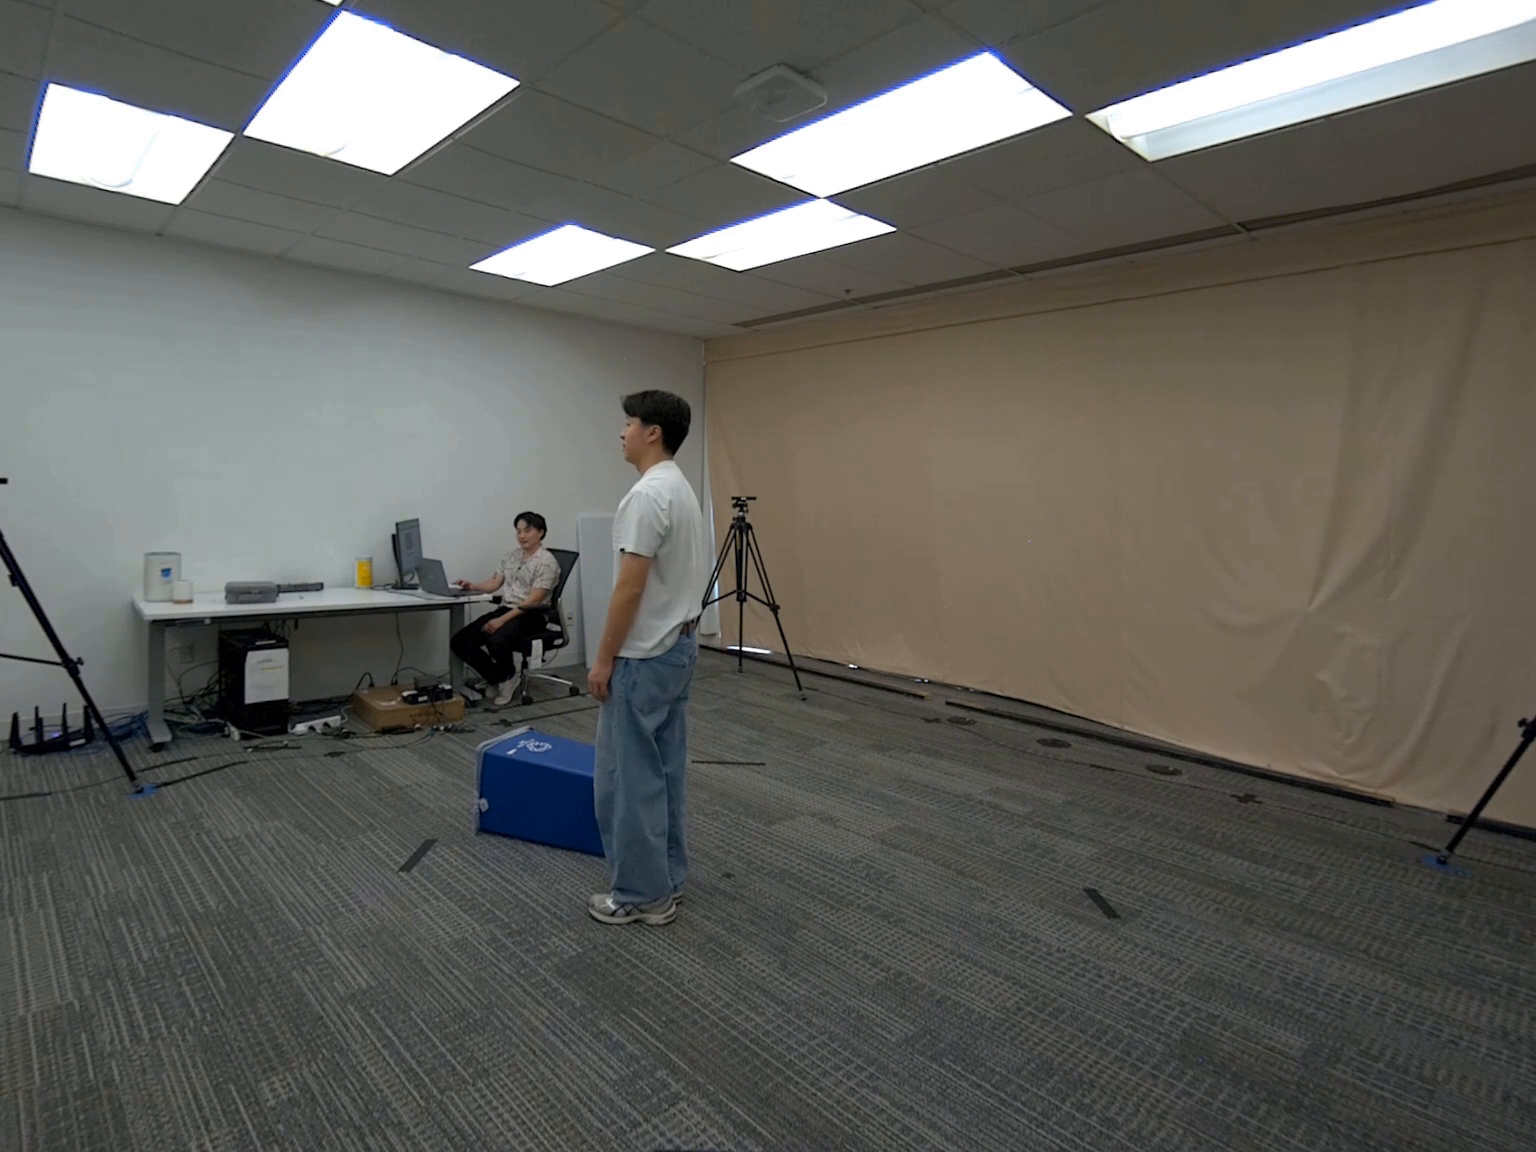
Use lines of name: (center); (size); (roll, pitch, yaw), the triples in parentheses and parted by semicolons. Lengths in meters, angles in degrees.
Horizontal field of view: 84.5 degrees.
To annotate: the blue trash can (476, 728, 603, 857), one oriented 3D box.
blue trash can: (-0.805, 0.893, 3.453); (0.726, 0.377, 0.369); (6, 5, 21)
